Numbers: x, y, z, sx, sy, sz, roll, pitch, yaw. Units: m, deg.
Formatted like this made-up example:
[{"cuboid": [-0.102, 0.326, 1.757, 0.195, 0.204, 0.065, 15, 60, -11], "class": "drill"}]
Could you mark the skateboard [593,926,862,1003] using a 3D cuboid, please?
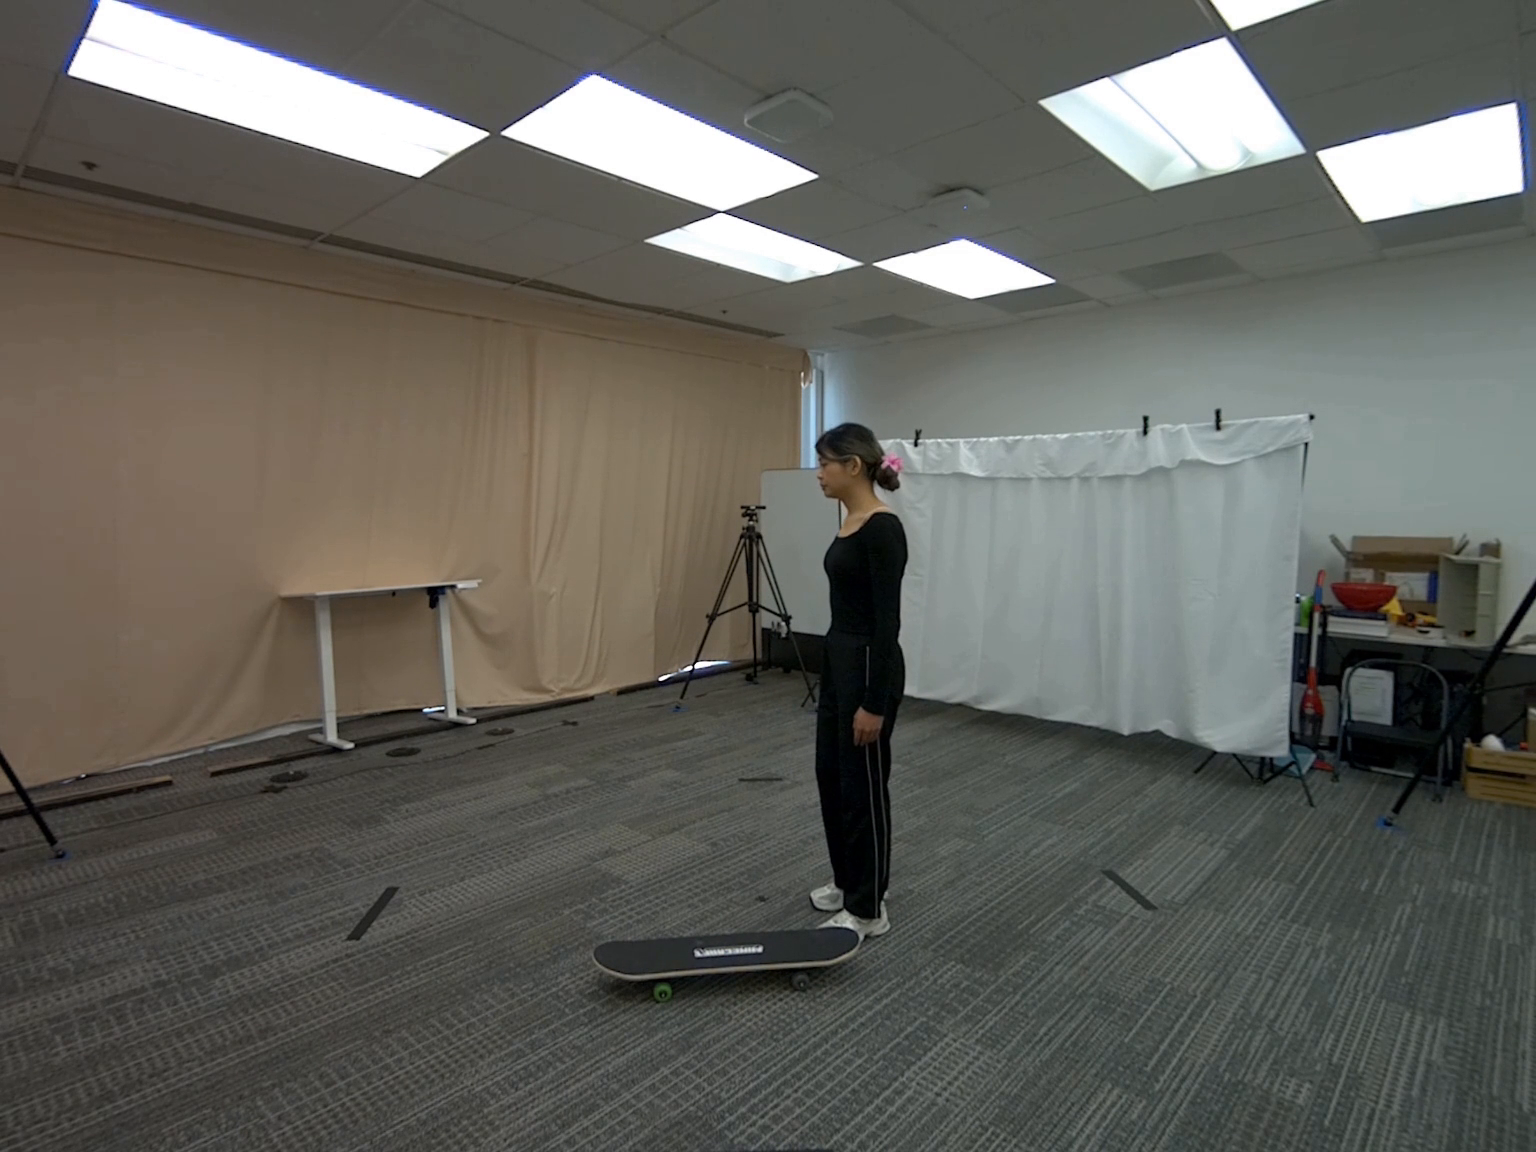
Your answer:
[{"cuboid": [-0.113, 1.135, 2.462, 0.780, 0.110, 0.195, -1, 4, -7], "class": "skateboard"}]
